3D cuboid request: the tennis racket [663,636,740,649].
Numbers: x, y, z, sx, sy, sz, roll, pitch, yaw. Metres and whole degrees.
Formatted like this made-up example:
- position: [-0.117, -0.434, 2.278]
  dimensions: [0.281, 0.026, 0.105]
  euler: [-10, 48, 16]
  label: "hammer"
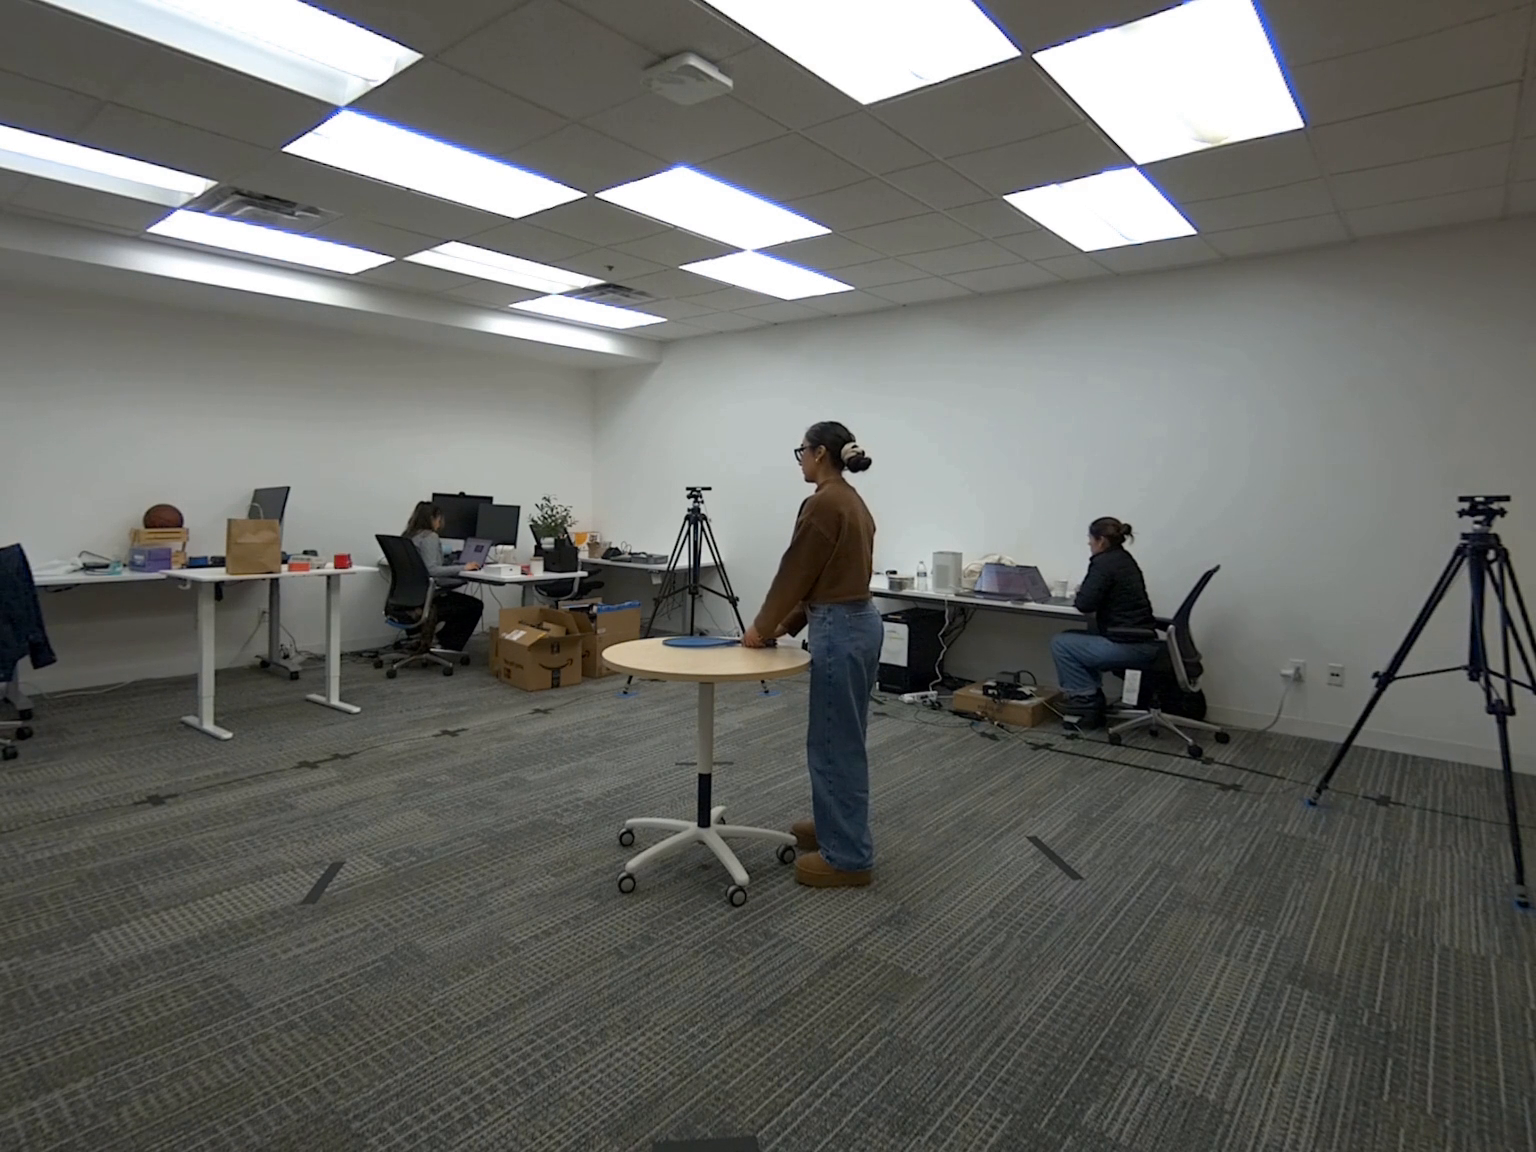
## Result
- position: [-0.207, 0.257, 3.329]
  dimensions: [0.436, 0.031, 0.213]
  euler: [0, 6, 7]
  label: "tennis racket"
